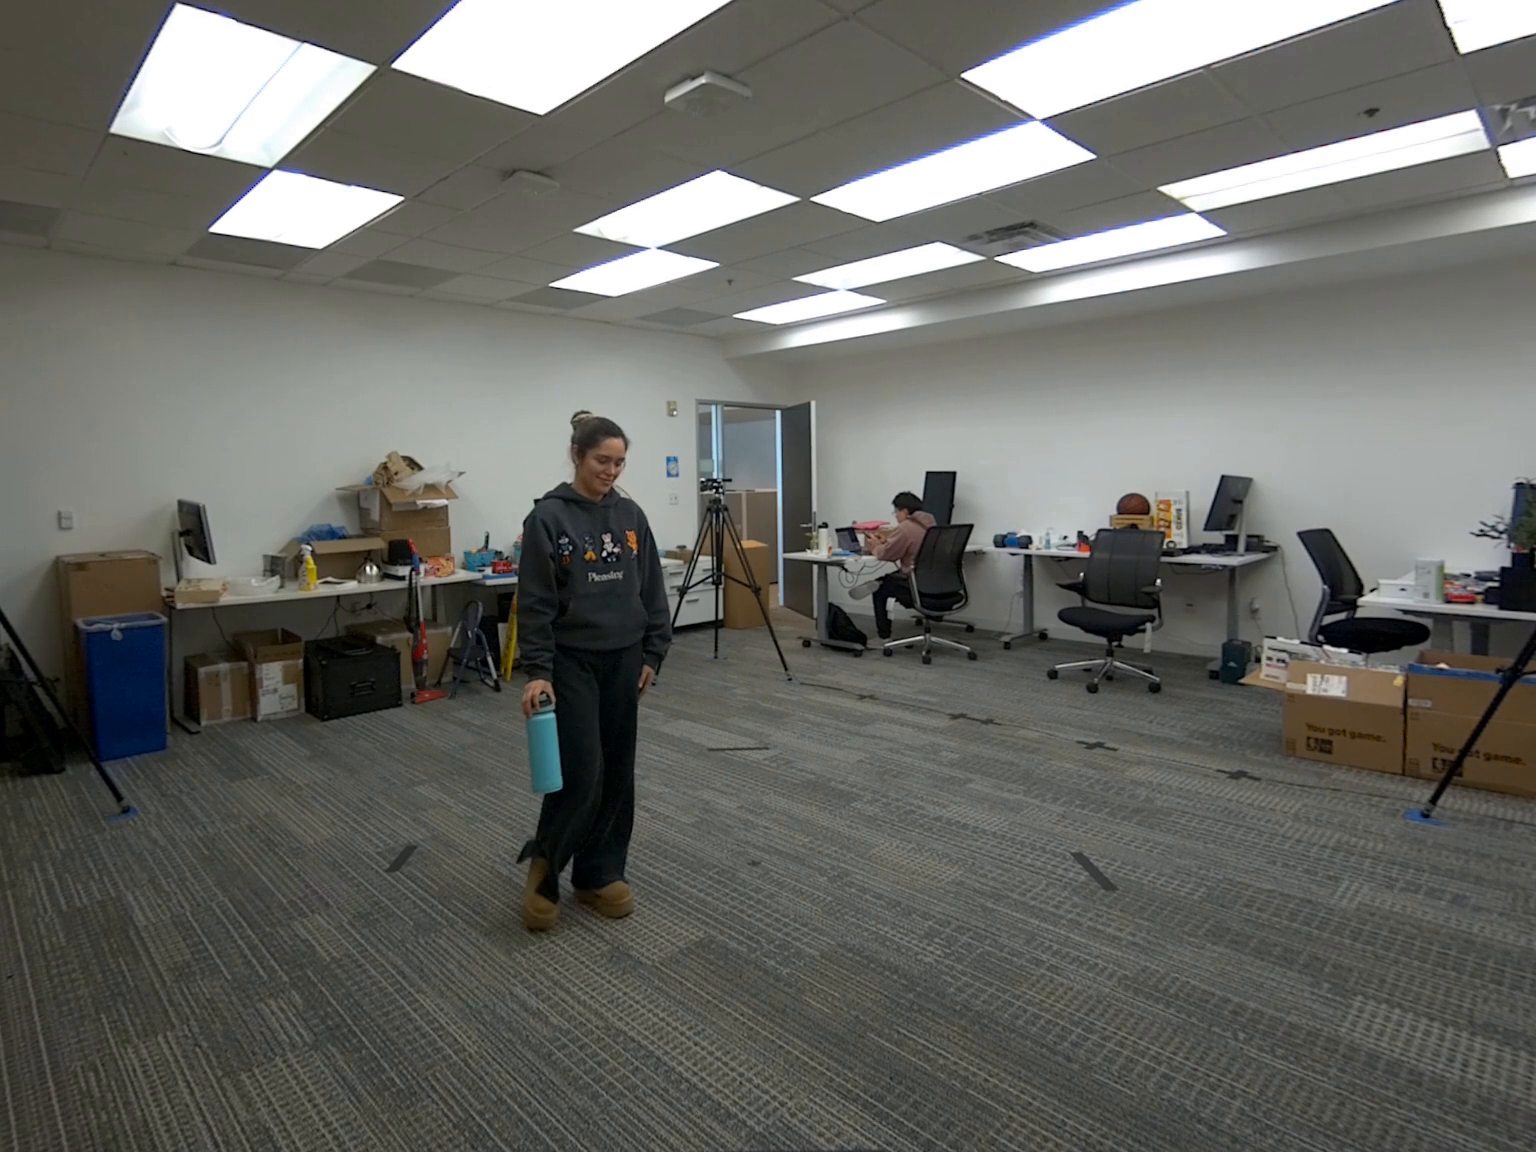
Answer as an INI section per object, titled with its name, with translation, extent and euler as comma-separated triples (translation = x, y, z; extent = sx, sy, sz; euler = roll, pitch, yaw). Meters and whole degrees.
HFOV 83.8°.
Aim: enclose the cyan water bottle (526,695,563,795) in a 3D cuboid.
[cyan water bottle]
translation = -0.682, 0.502, 2.534
extent = 0.092, 0.284, 0.092
euler = -4, -2, -2
